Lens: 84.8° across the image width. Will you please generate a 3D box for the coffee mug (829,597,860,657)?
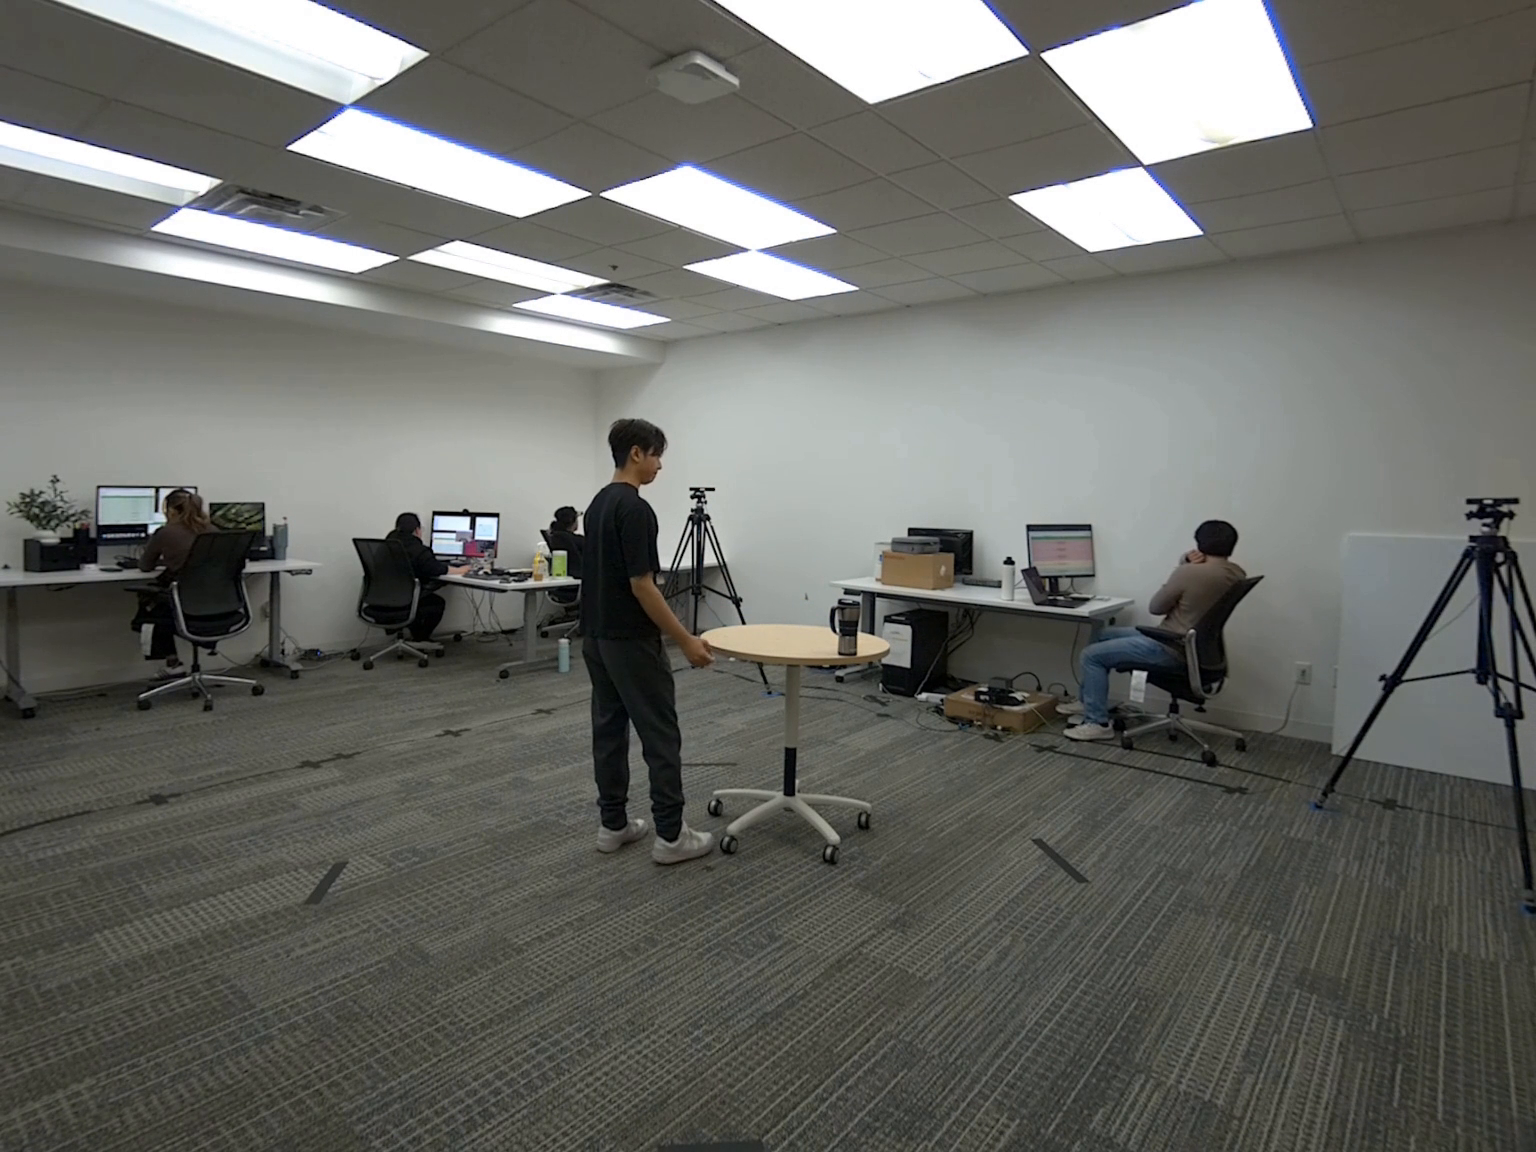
[{"bbox_3d":[0.275,0.191,3.173,0.126,0.201,0.085,8,9,36],"label":"coffee mug"}]
